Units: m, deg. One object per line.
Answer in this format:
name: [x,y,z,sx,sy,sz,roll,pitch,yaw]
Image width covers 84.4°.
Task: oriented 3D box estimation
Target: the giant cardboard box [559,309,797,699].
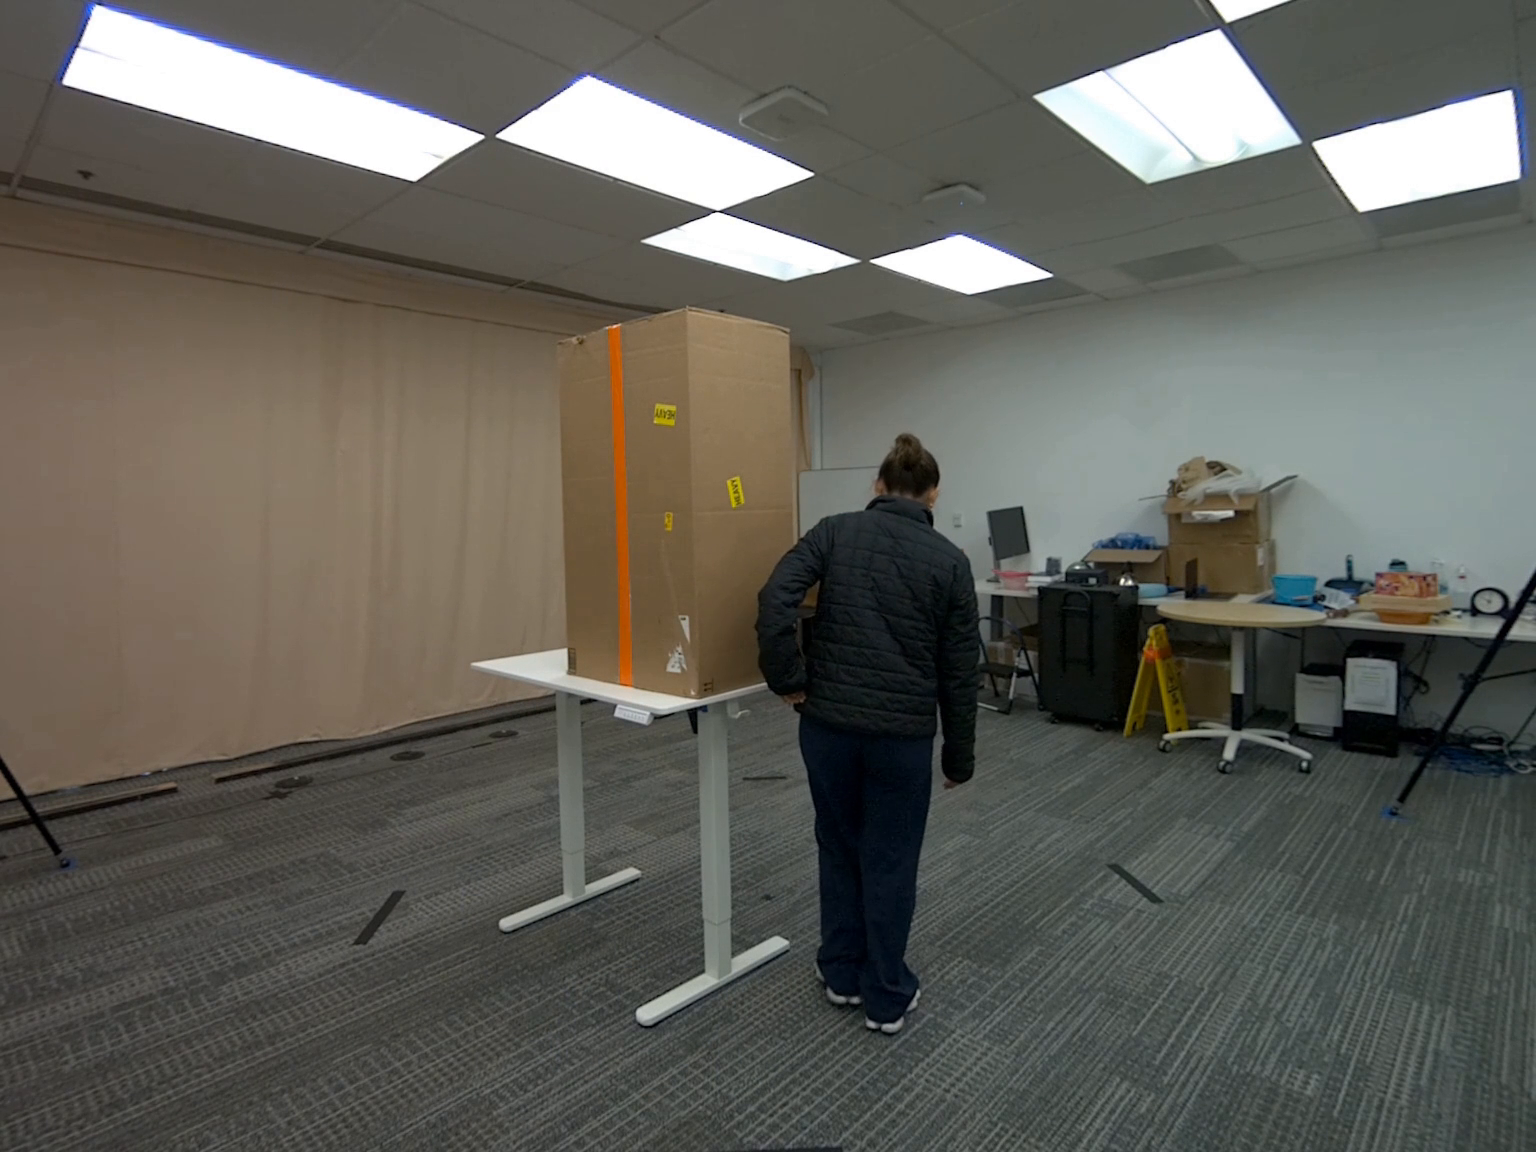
giant cardboard box: [-0.263,-0.205,2.531,0.596,1.024,0.413,2,4,42]
